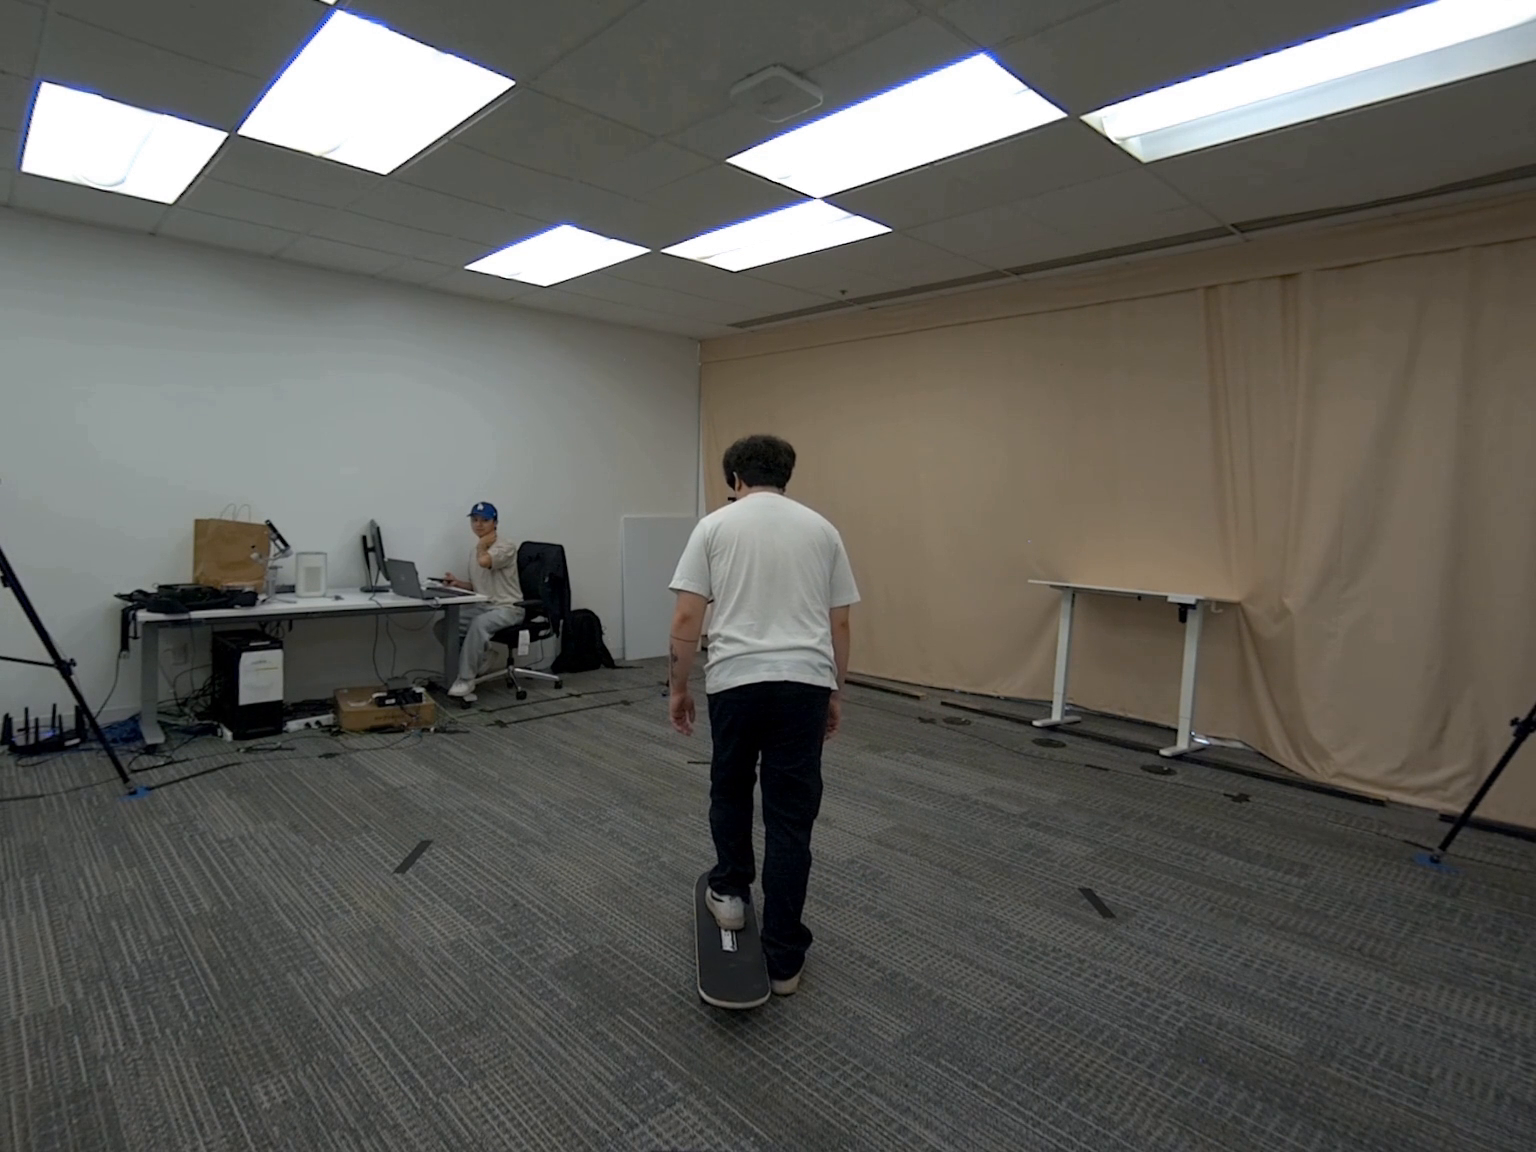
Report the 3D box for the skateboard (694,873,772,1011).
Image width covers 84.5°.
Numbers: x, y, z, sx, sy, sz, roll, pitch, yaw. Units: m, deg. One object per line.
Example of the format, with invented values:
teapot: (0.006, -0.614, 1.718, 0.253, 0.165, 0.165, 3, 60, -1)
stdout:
skateboard: (-0.128, 1.100, 2.540, 0.193, 0.110, 0.790, 2, 5, -6)
